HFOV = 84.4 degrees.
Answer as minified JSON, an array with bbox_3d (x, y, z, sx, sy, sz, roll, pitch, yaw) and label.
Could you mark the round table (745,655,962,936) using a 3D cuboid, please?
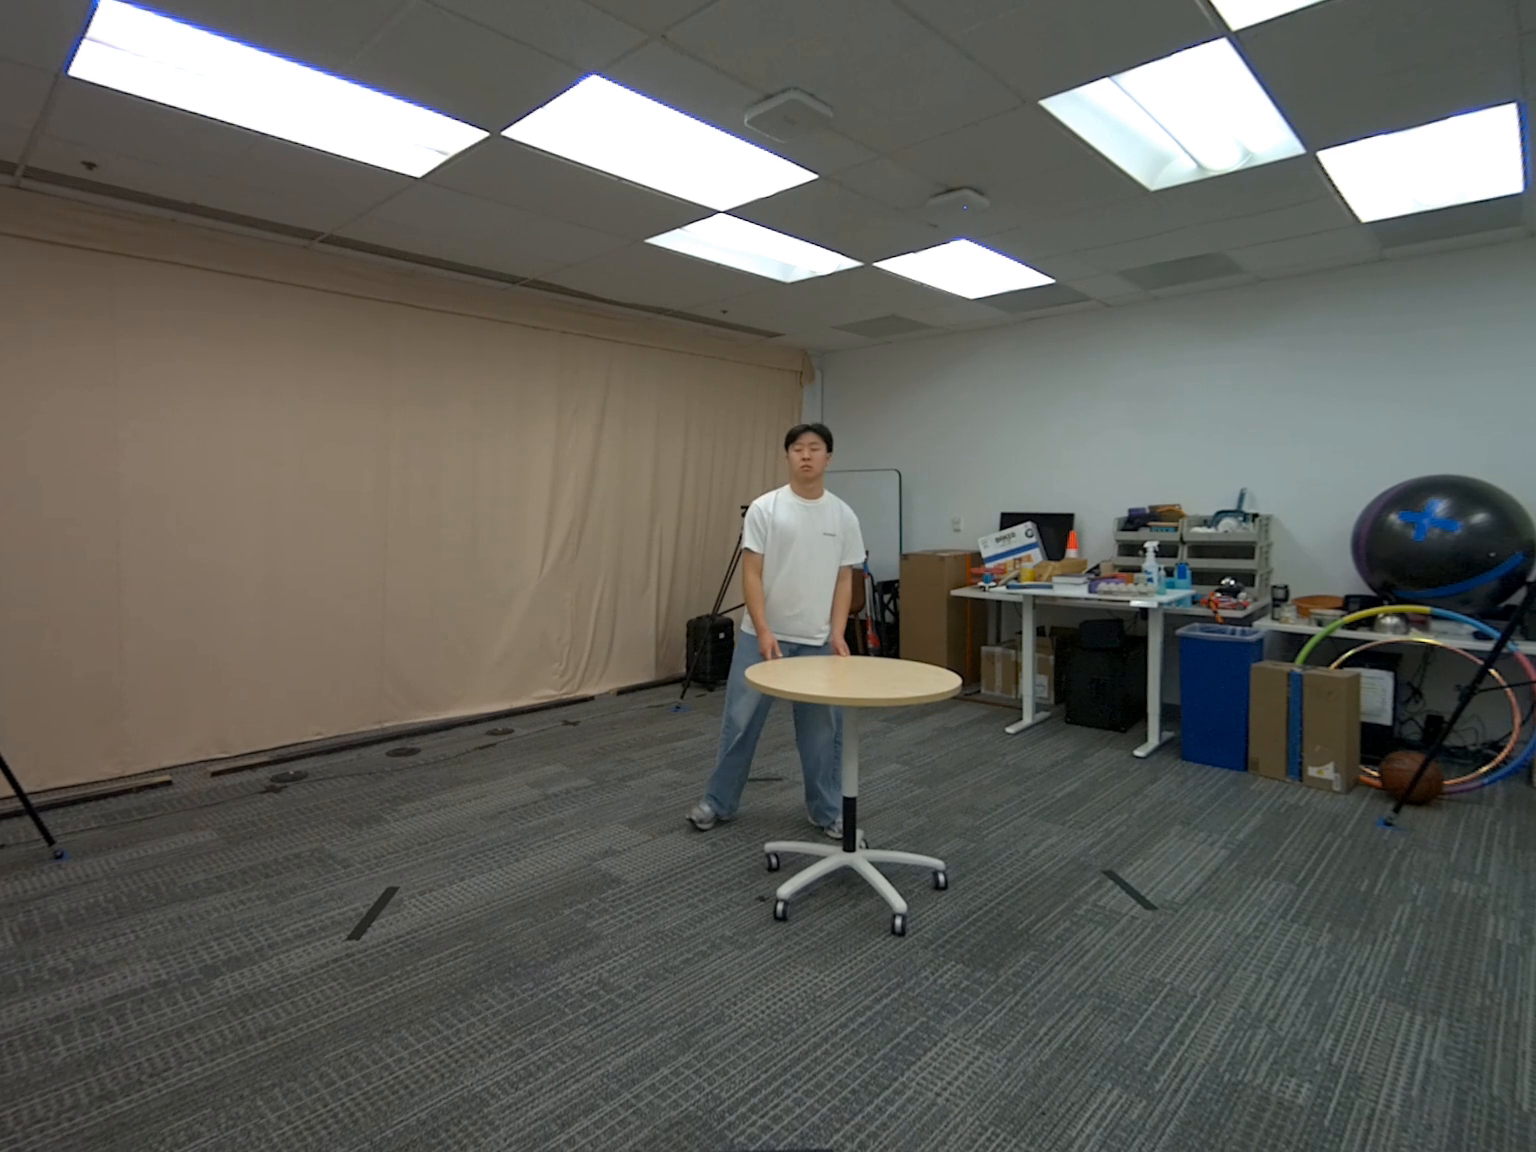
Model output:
[{"bbox_3d":[0.302,0.746,3.033,0.763,0.792,0.766,0,3,-2],"label":"round table"}]
